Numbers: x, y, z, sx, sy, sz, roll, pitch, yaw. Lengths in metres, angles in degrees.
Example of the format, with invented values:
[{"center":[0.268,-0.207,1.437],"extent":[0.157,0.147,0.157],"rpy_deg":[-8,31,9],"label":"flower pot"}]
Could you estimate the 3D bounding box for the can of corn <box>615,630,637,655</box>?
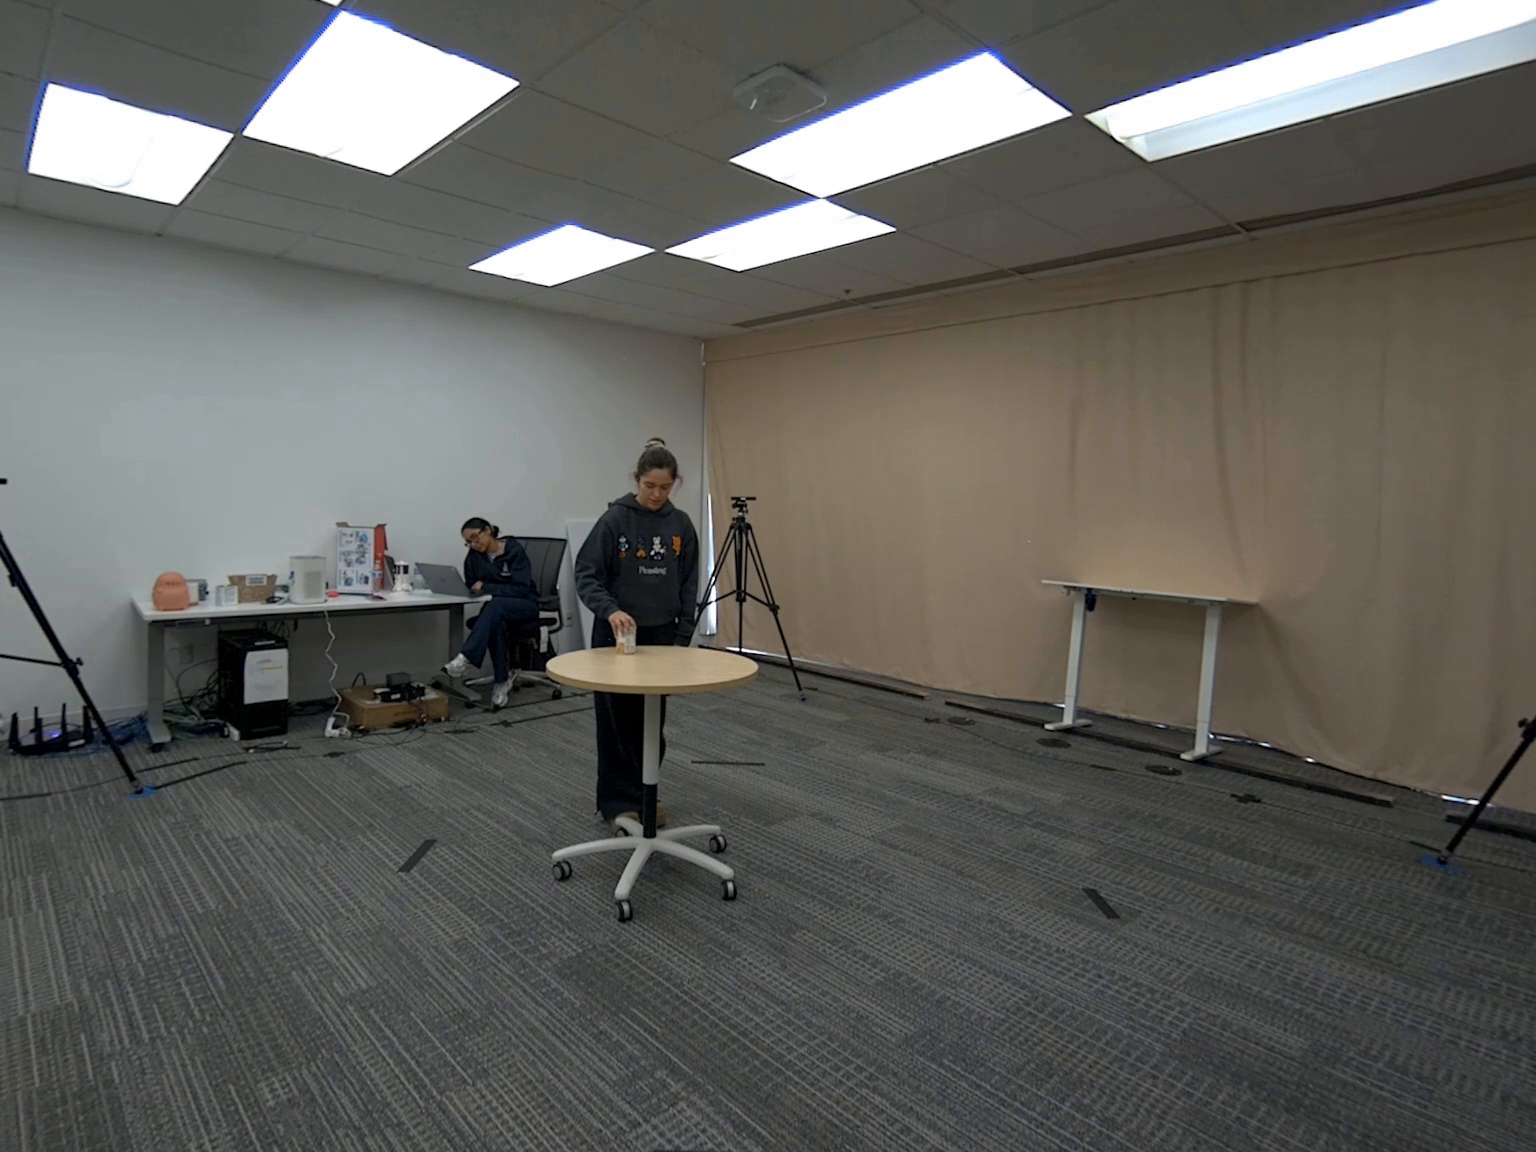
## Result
[{"center":[-0.571,0.247,3.269],"extent":[0.074,0.111,0.074],"rpy_deg":[-2,0,-1],"label":"can of corn"}]
